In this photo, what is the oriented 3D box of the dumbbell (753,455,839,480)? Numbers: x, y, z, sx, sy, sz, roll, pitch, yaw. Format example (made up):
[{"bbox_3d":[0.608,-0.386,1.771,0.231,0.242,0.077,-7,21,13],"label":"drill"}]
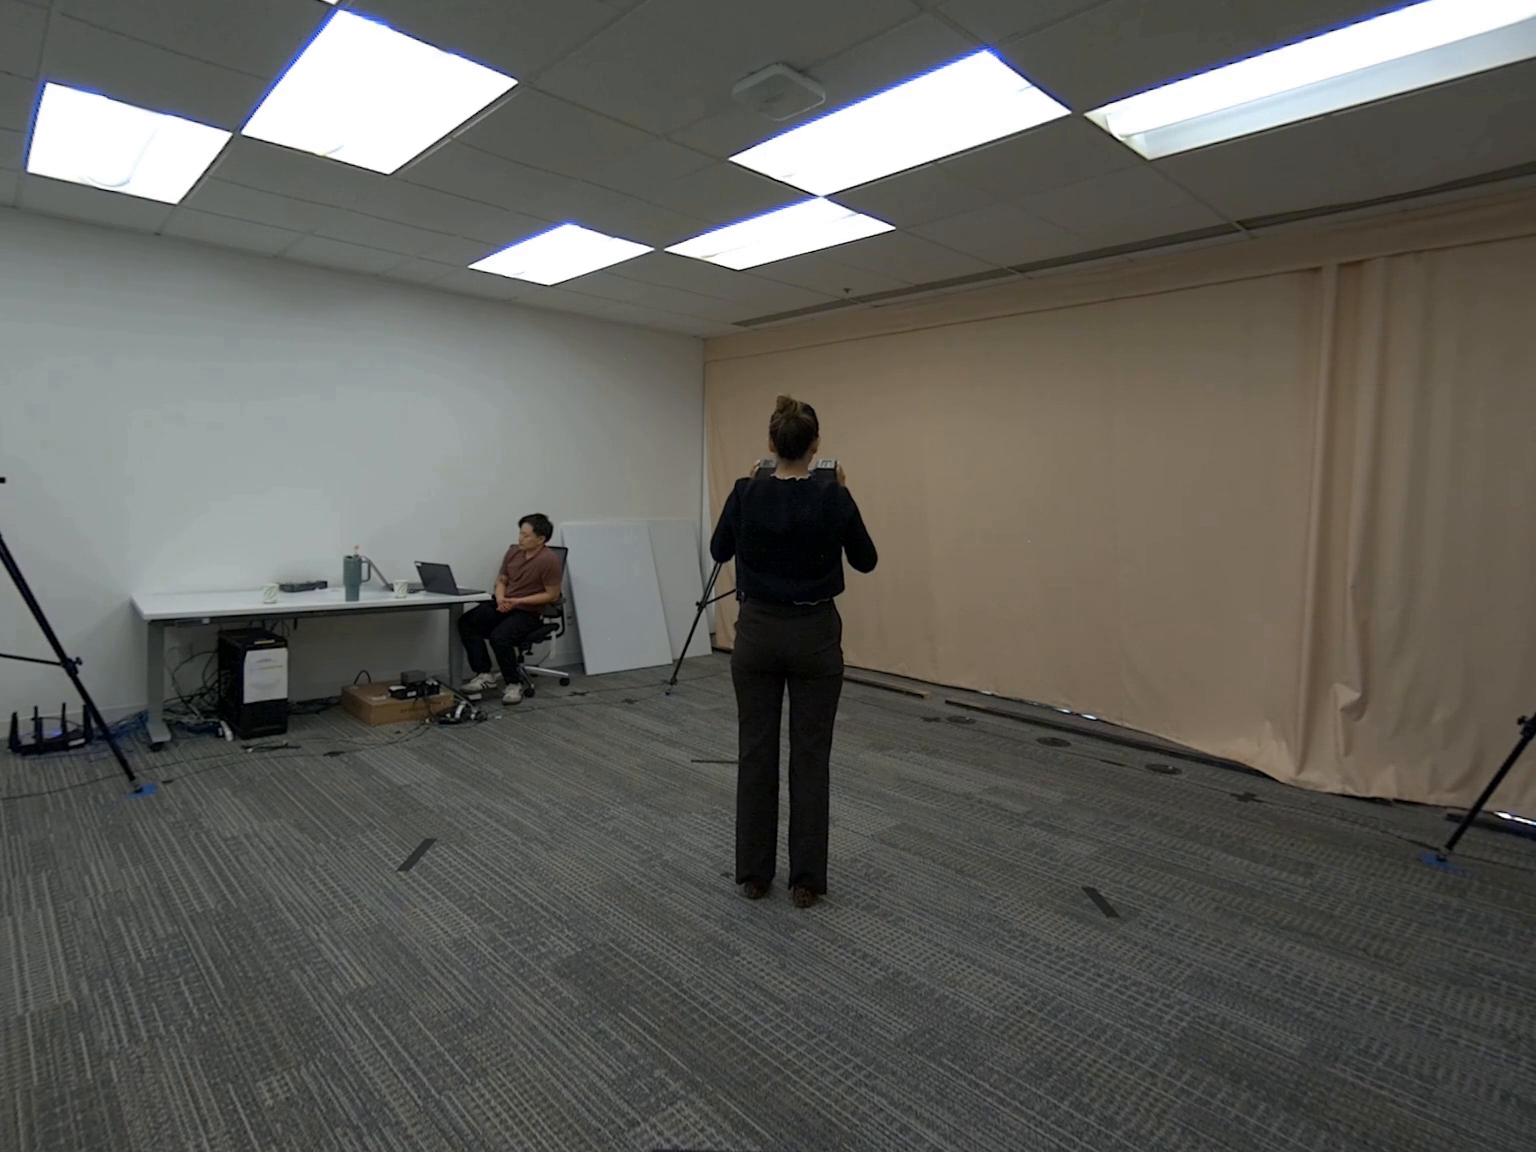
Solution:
[{"bbox_3d":[0.136,-0.356,3.037,0.297,0.110,0.120,3,-27,12],"label":"dumbbell"}]
